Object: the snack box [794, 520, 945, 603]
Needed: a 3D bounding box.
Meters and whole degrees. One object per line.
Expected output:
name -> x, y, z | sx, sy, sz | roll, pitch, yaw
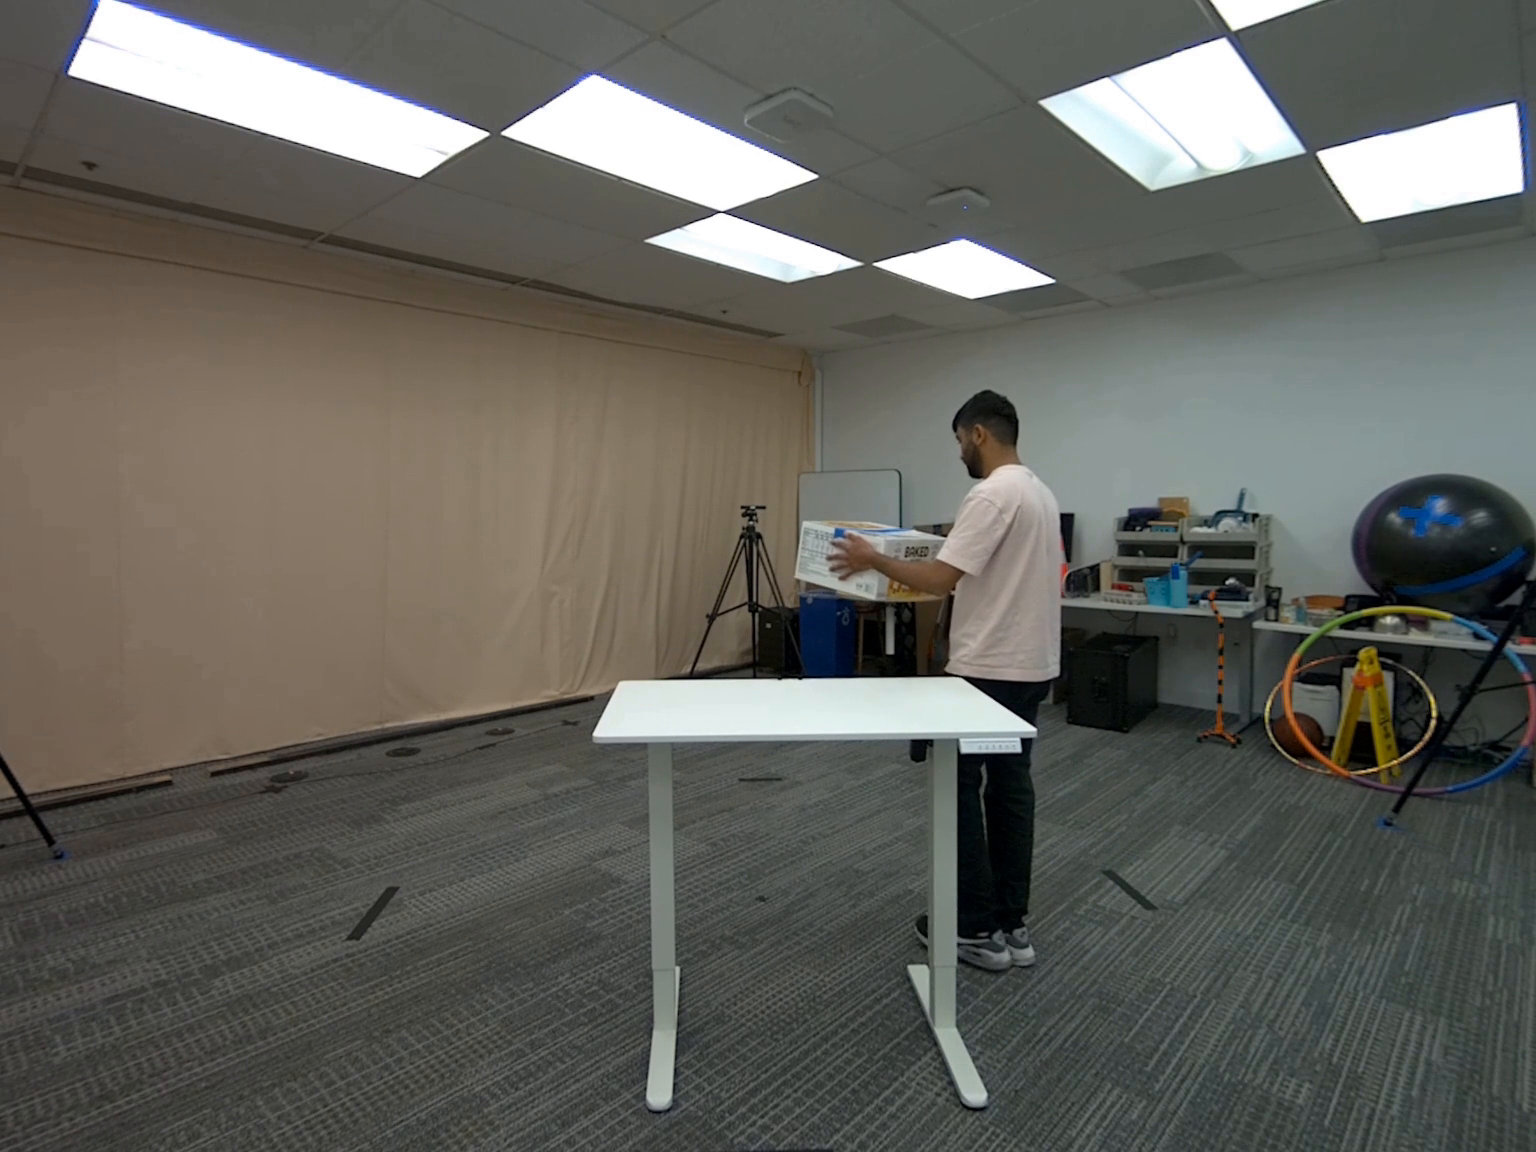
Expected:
snack box -> 0.367, -0.059, 2.910 | 0.352, 0.205, 0.392 | 15, 12, 41
